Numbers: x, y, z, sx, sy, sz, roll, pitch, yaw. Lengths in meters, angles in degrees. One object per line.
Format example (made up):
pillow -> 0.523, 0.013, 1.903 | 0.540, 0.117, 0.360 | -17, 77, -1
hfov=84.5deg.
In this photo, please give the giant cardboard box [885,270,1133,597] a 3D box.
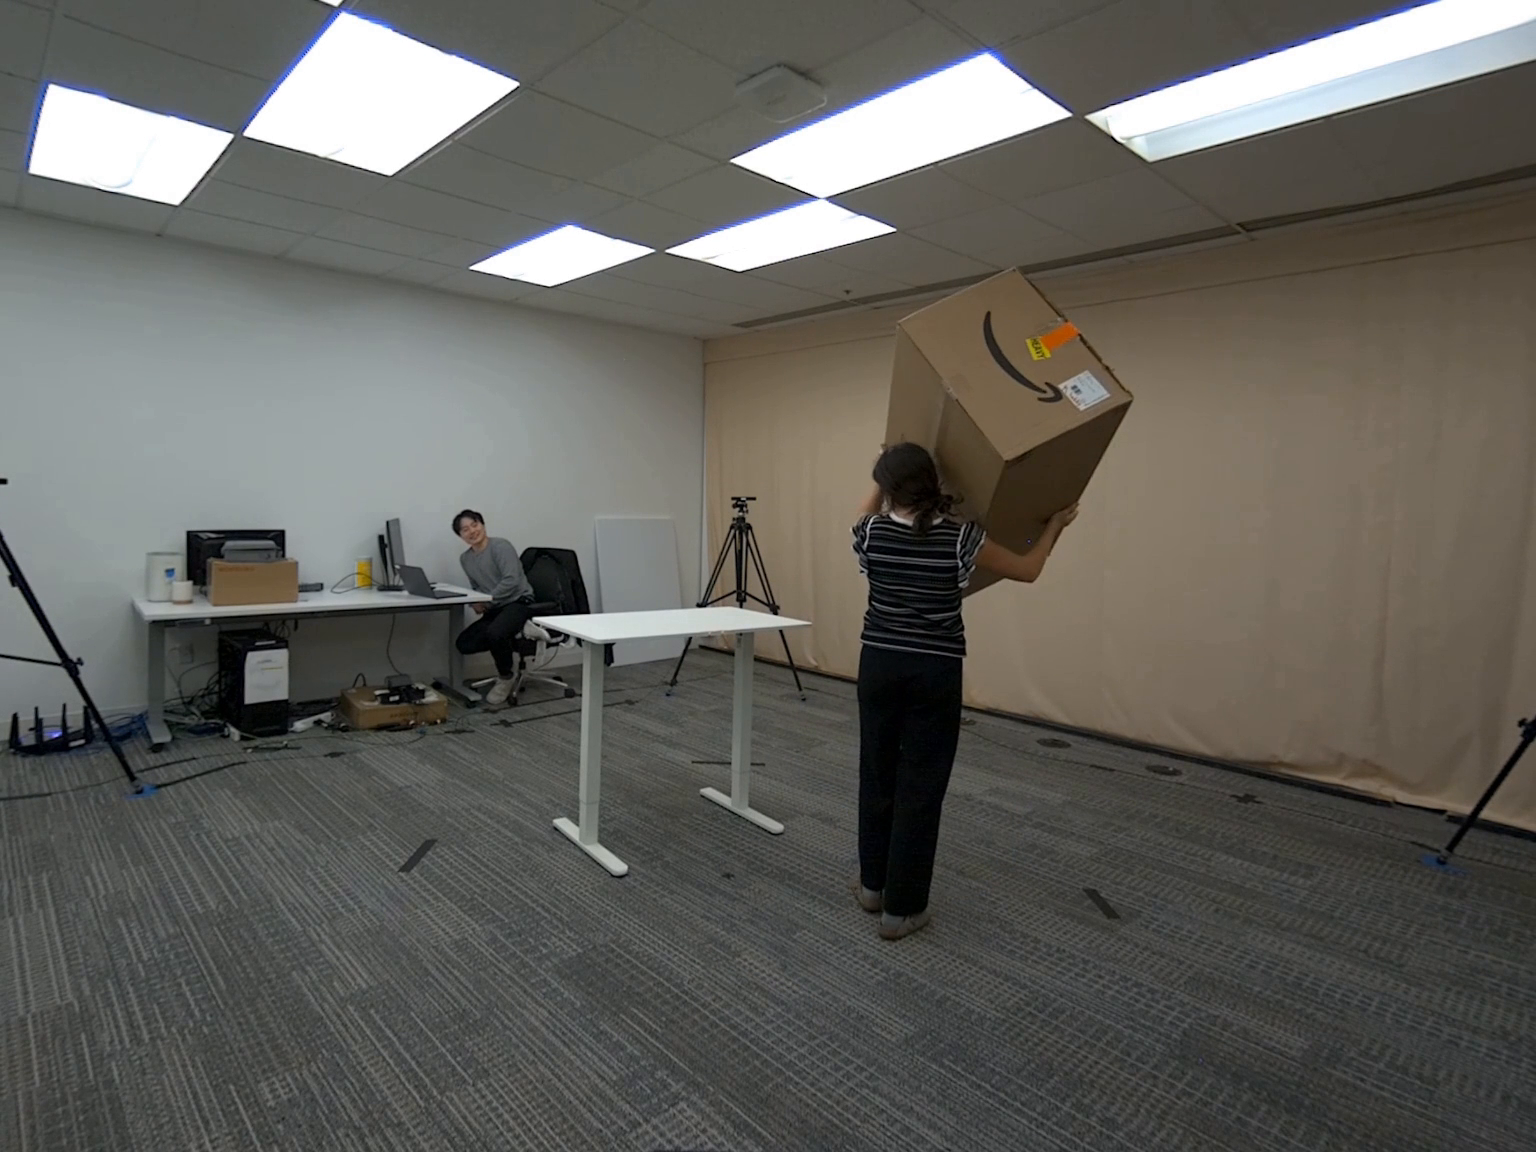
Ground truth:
giant cardboard box -> 0.732, -0.420, 2.891 | 0.425, 0.591, 1.004 | -26, -24, -7
